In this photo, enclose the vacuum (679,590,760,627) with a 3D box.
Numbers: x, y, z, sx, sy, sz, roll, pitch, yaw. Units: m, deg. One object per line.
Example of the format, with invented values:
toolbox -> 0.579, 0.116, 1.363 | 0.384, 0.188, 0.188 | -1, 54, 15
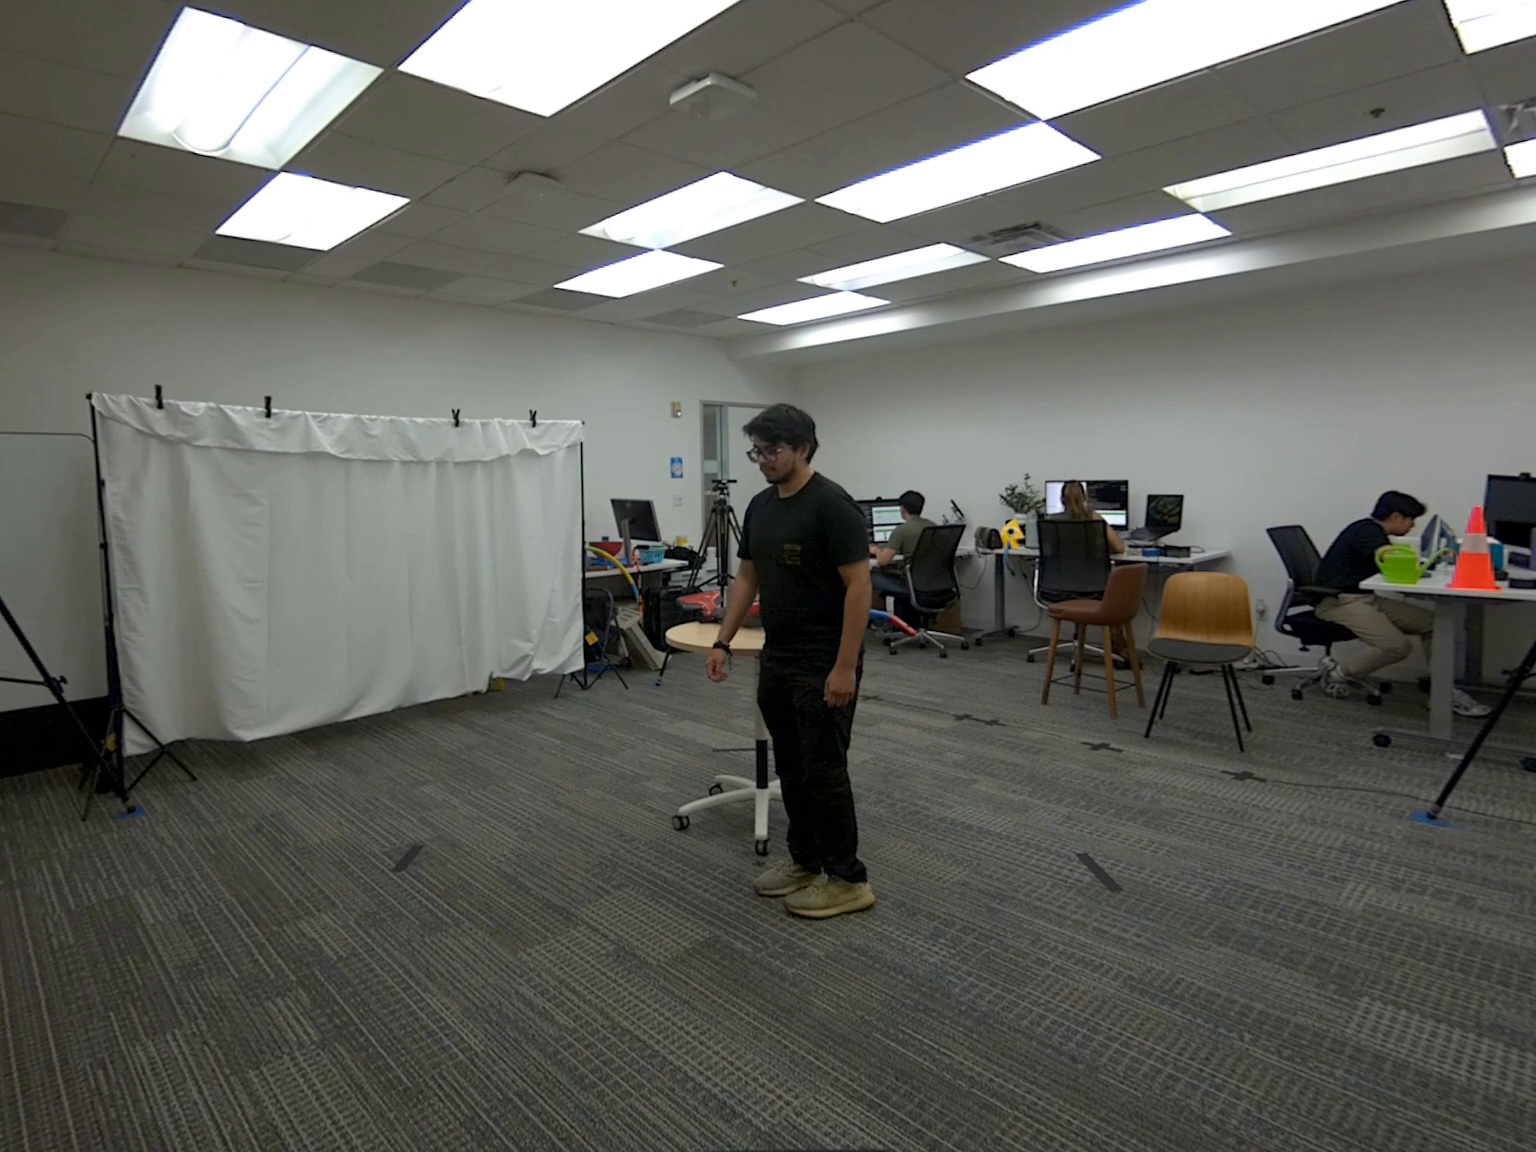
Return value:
vacuum -> 0.126, 0.178, 3.403 | 0.247, 0.143, 1.081 | -16, 13, -43
